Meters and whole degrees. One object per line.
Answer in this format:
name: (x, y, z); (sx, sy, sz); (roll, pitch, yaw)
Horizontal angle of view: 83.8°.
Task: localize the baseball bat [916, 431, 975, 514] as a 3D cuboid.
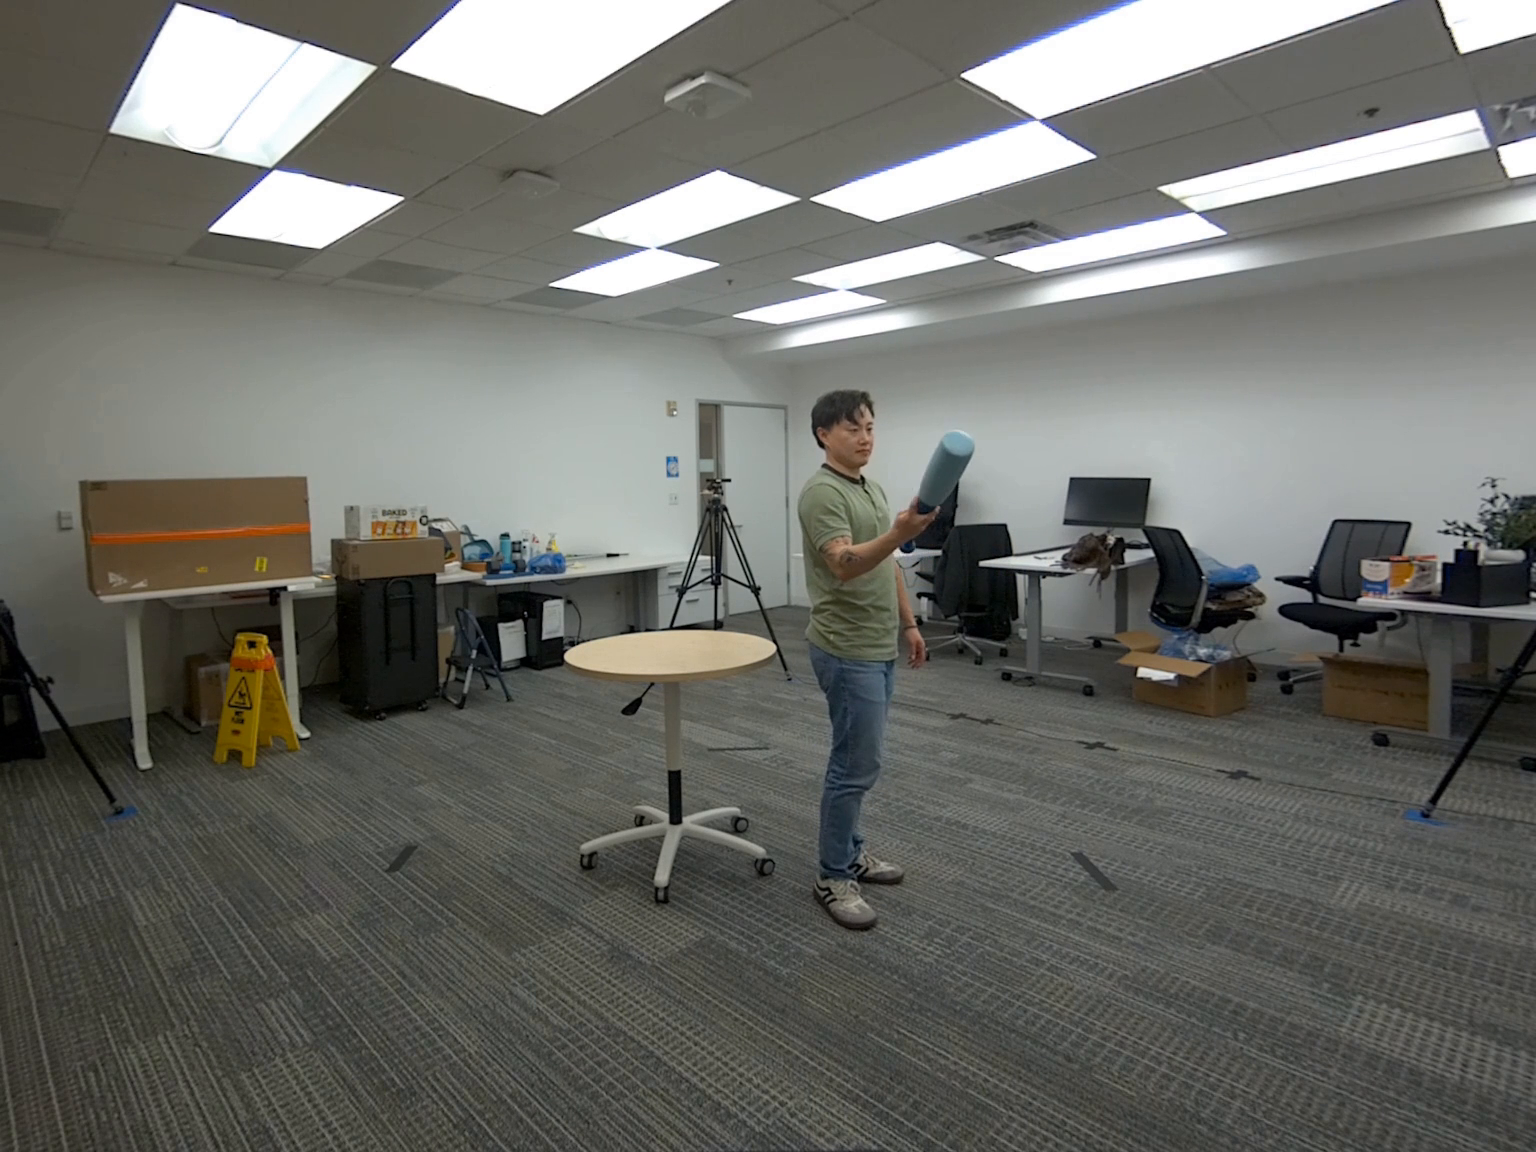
baseball bat: (0.437, -0.194, 2.337); (0.088, 0.091, 0.533); (-1, -28, -8)
